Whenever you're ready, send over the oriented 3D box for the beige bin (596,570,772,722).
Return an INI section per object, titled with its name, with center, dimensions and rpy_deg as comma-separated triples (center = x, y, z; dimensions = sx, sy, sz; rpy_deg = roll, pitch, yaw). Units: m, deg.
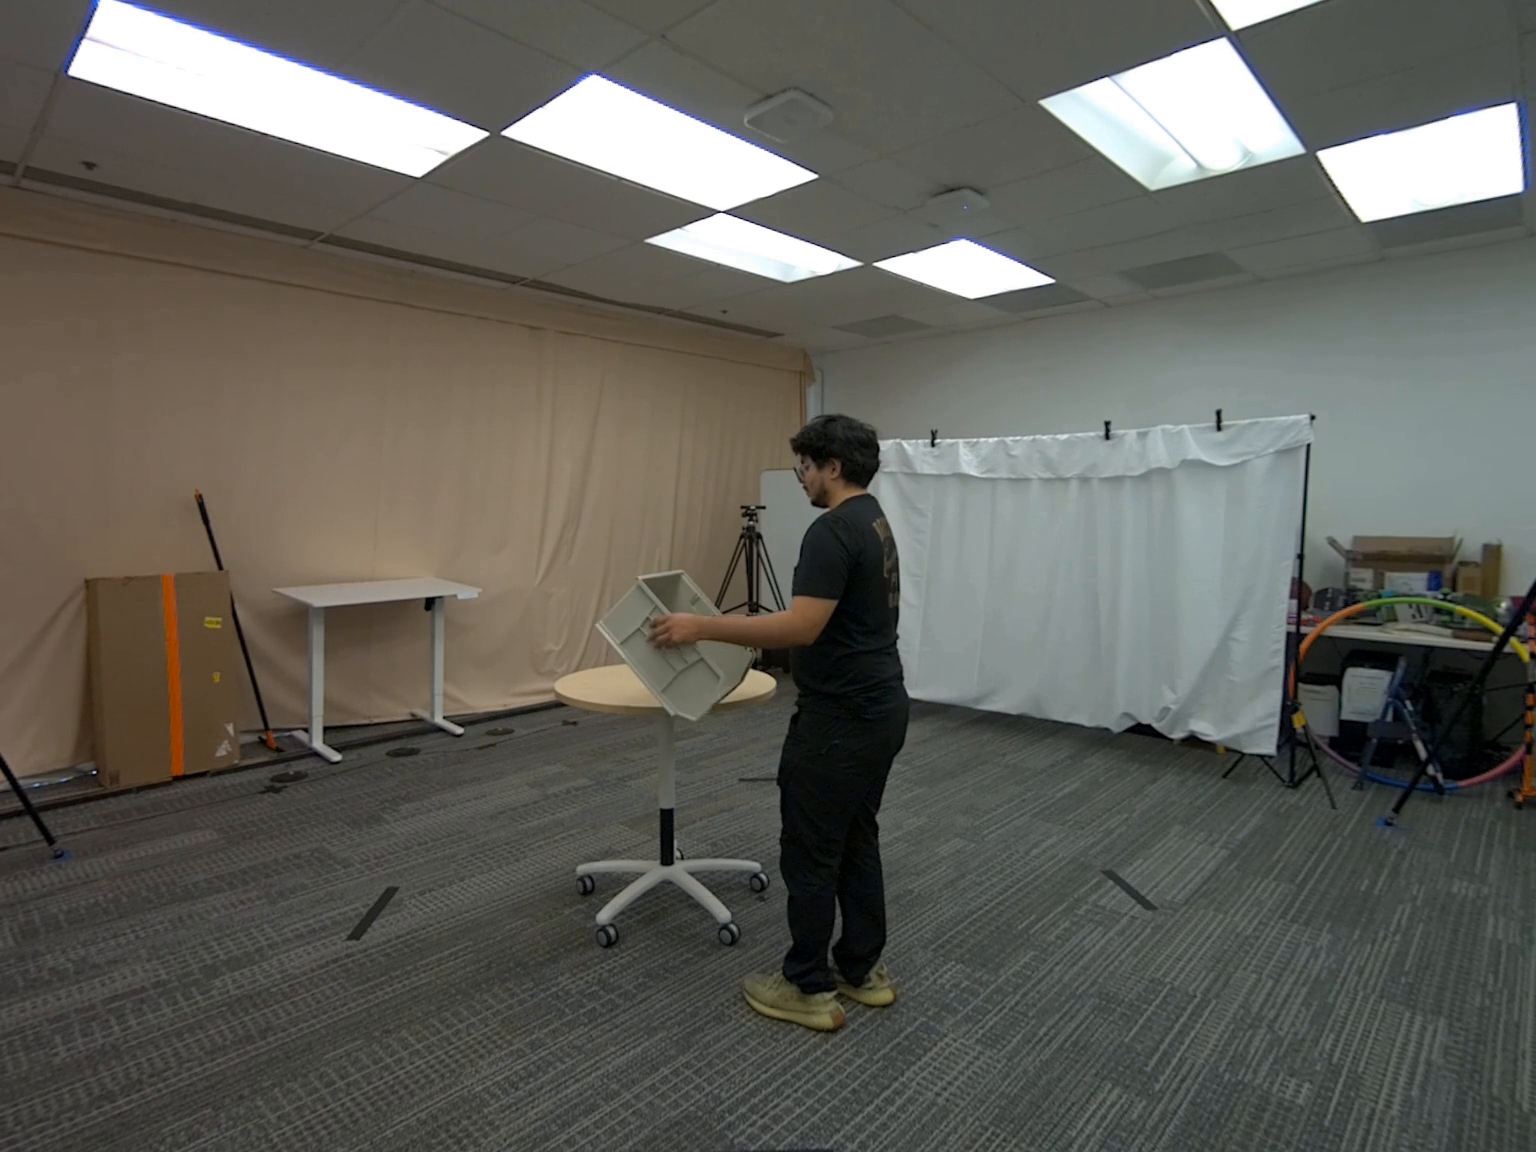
[beige bin]
center = -0.228, 0.196, 2.370
dimensions = 0.189, 0.381, 0.417
rpy_deg = -45, -7, 10
